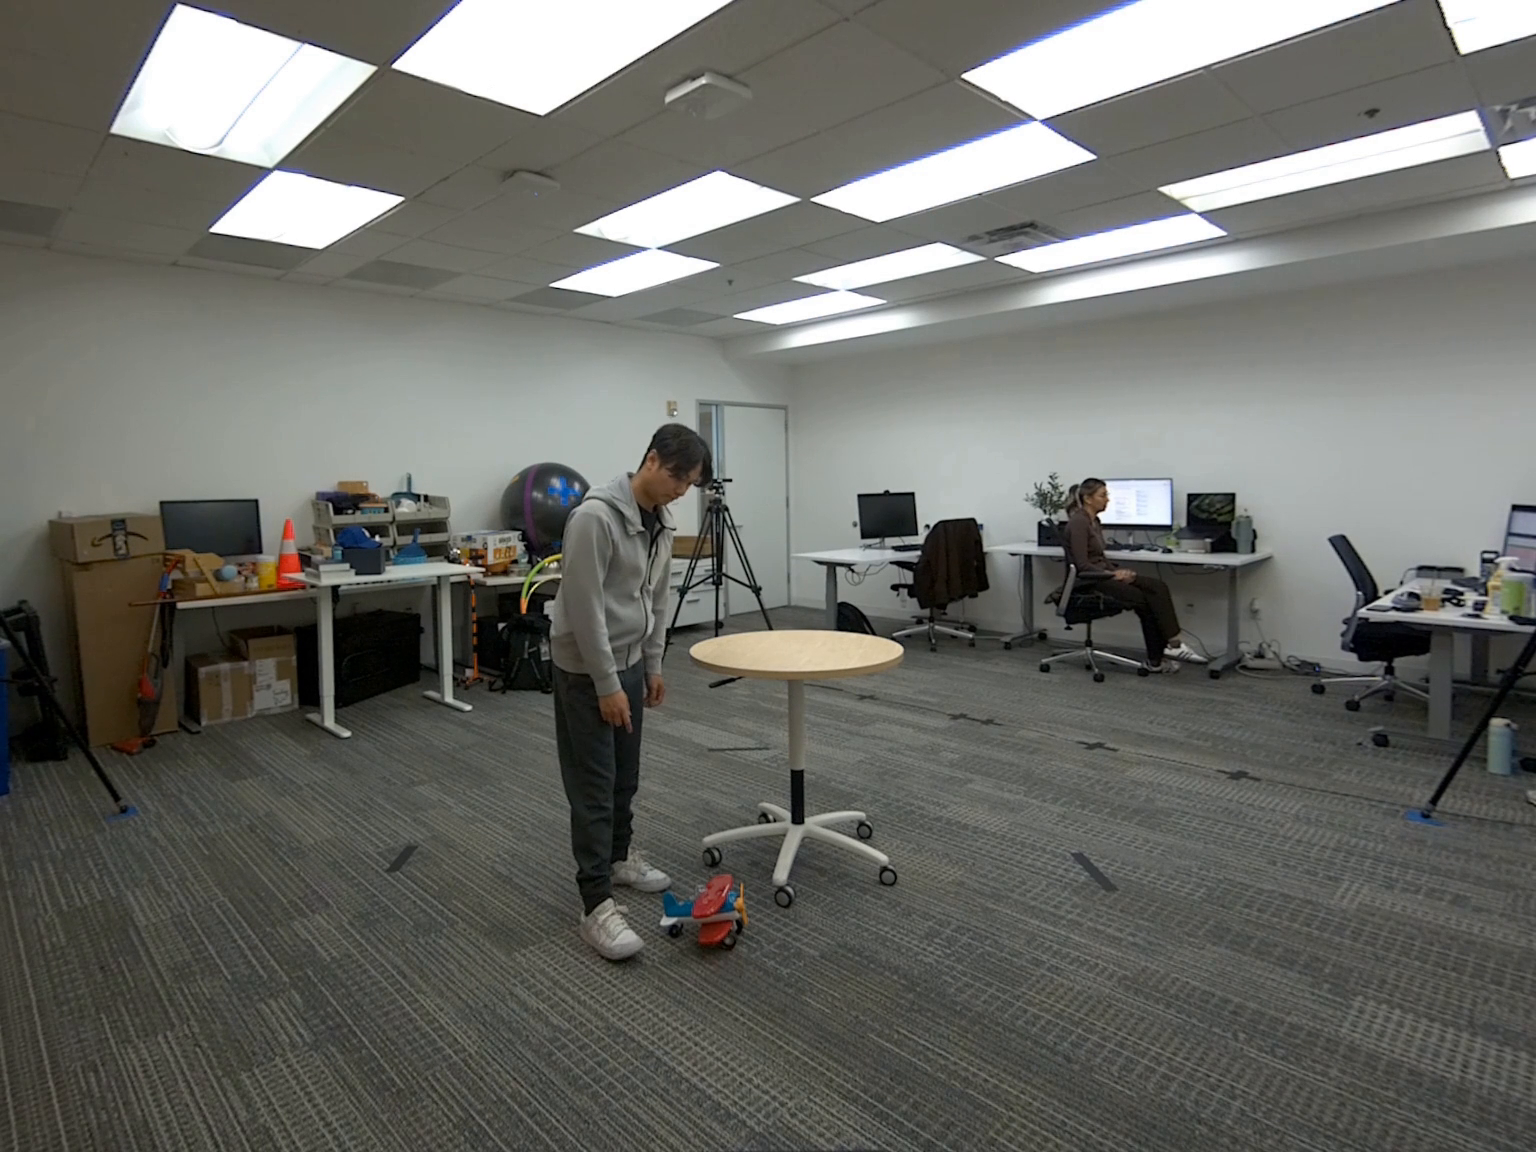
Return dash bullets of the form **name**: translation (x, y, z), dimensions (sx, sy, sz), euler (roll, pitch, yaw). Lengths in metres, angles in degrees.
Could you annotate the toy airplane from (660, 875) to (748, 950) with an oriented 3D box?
- **toy airplane**: translation (-0.192, 1.031, 2.595), dimensions (0.256, 0.156, 0.256), euler (-2, 6, -15)
